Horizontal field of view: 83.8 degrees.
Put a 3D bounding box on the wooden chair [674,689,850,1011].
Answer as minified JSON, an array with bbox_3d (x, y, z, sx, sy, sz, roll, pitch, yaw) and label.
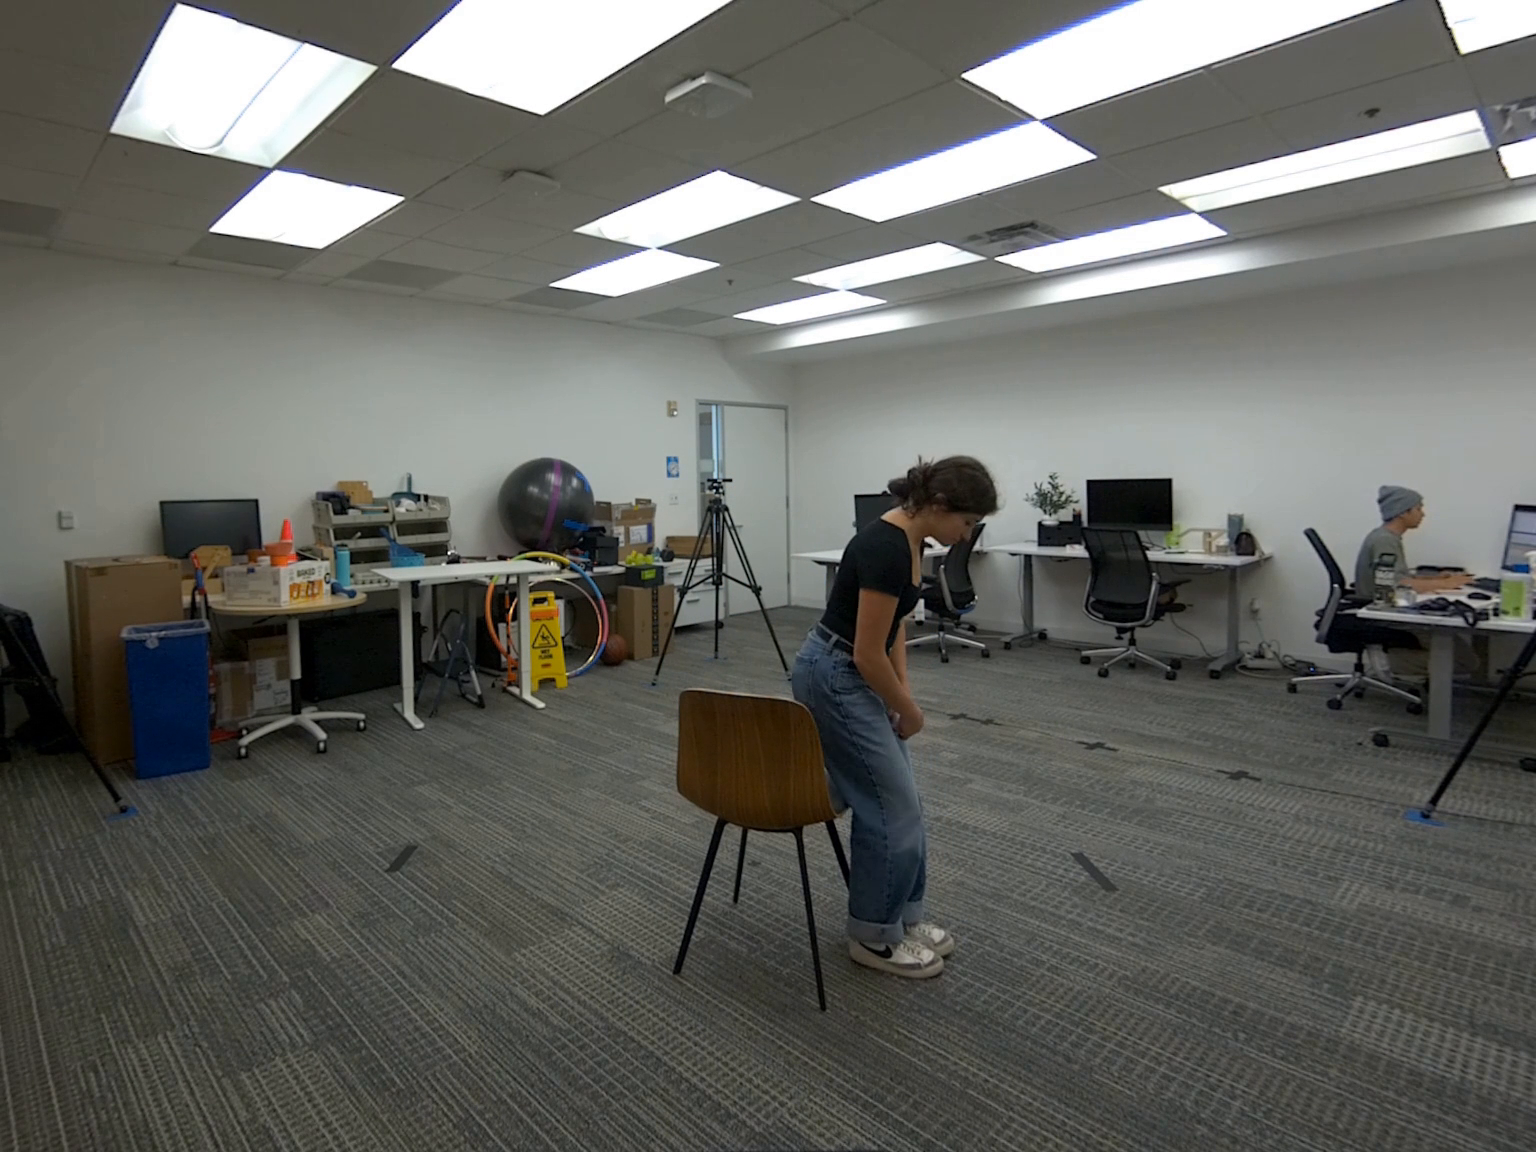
[{"bbox_3d":[0.012,0.688,2.510,0.488,0.870,0.516,1,9,22],"label":"wooden chair"}]
